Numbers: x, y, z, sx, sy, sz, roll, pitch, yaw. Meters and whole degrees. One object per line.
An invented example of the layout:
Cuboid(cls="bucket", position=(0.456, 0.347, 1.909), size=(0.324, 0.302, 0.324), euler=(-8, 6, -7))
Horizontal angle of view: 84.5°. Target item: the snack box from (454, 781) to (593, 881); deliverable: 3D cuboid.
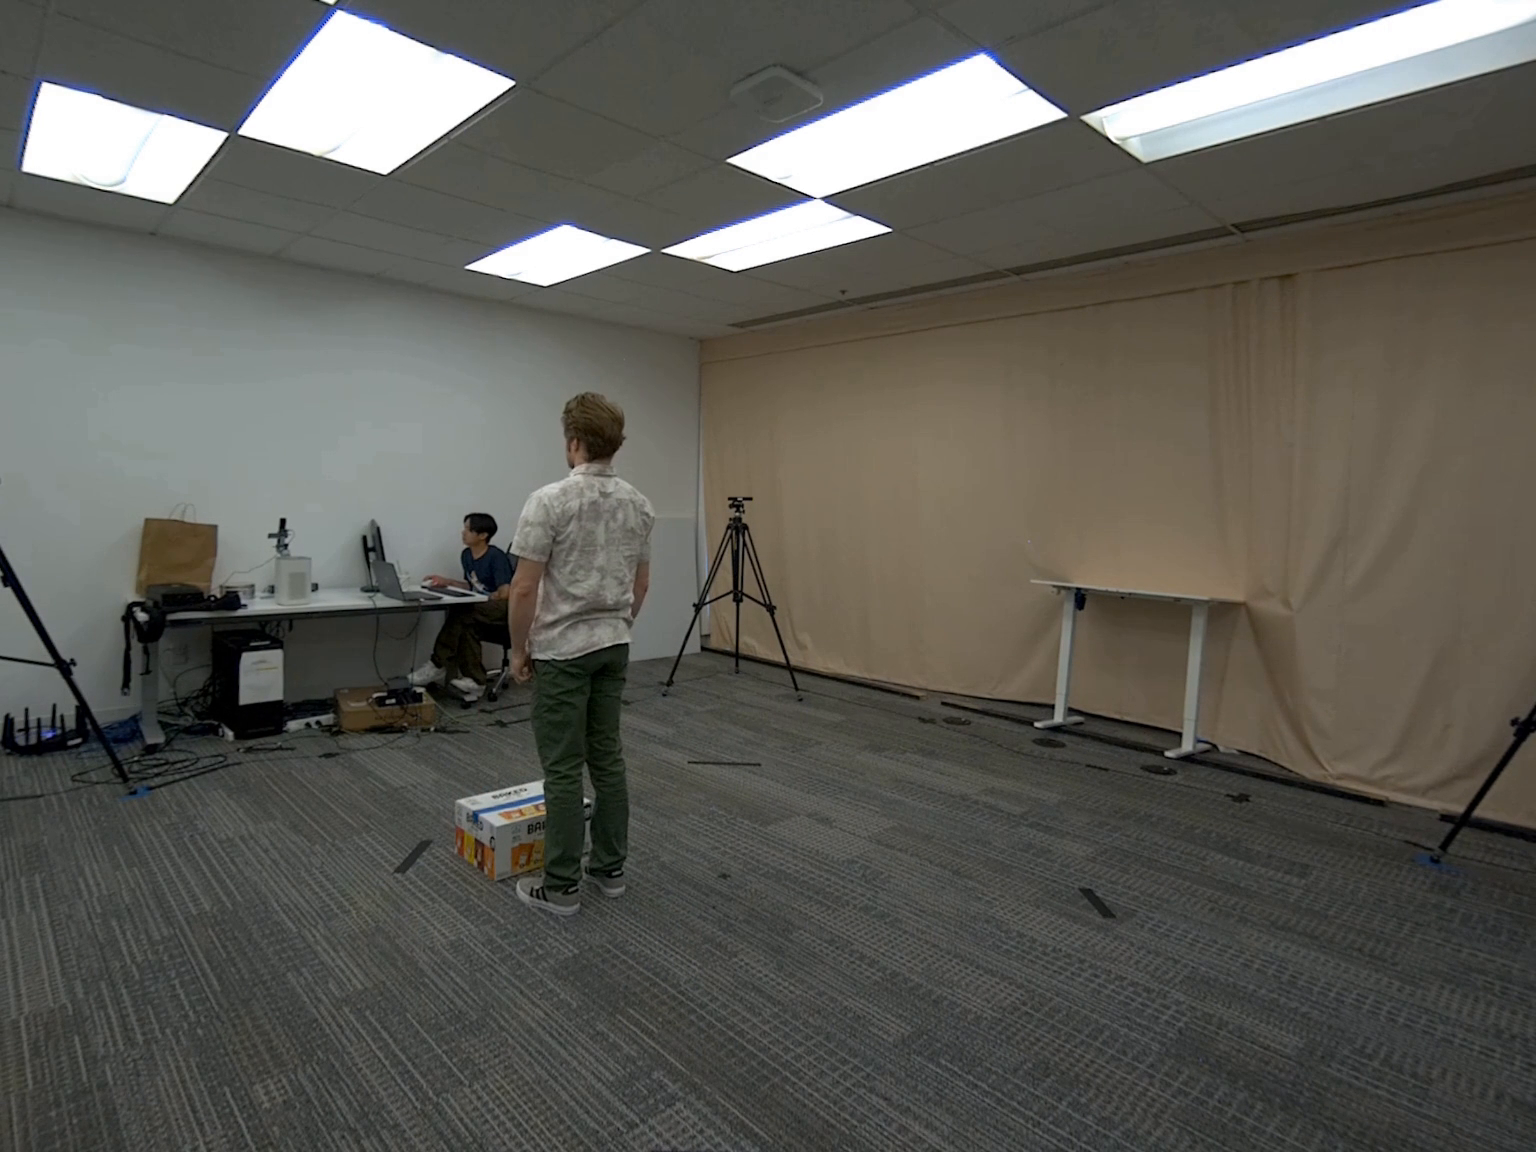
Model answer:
Cuboid(cls="snack box", position=(-0.970, 0.976, 3.266), size=(0.396, 0.205, 0.349), euler=(-3, 7, -44))
